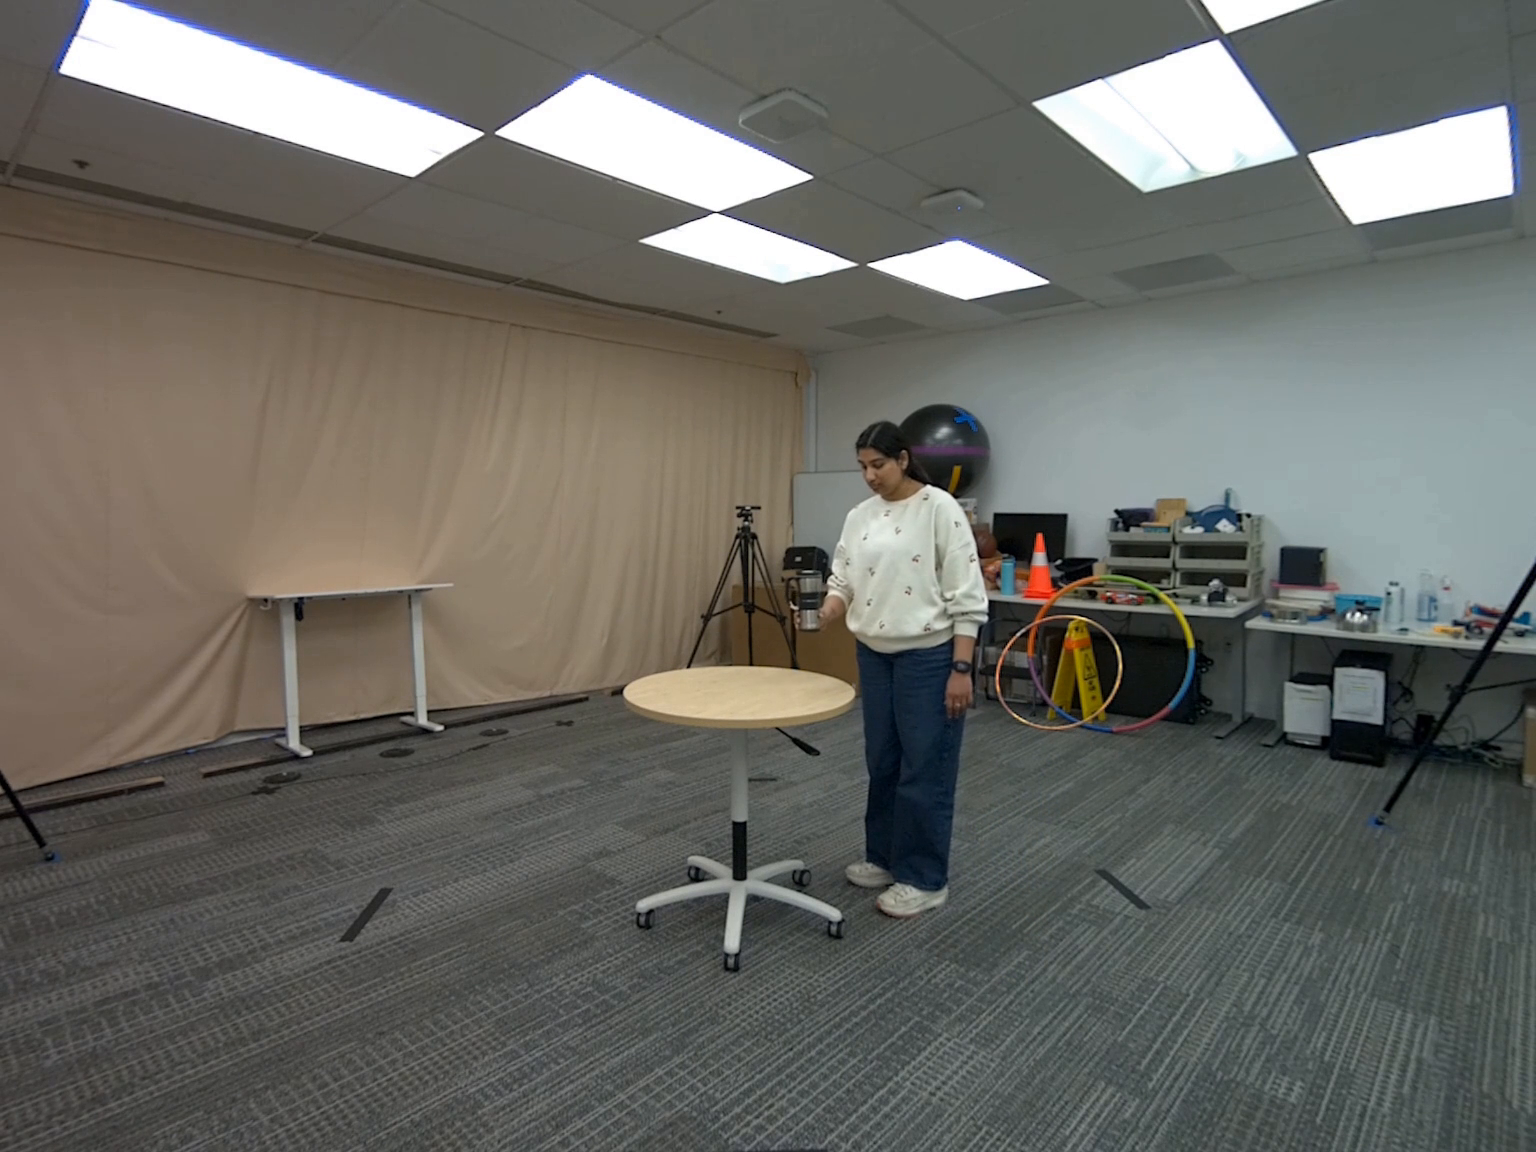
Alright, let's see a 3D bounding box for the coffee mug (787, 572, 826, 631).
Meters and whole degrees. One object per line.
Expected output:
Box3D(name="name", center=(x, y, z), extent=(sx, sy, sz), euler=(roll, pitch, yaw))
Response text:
Box3D(name="coffee mug", center=(0.126, 0.086, 2.813), extent=(0.124, 0.202, 0.086), euler=(1, 4, 19))
